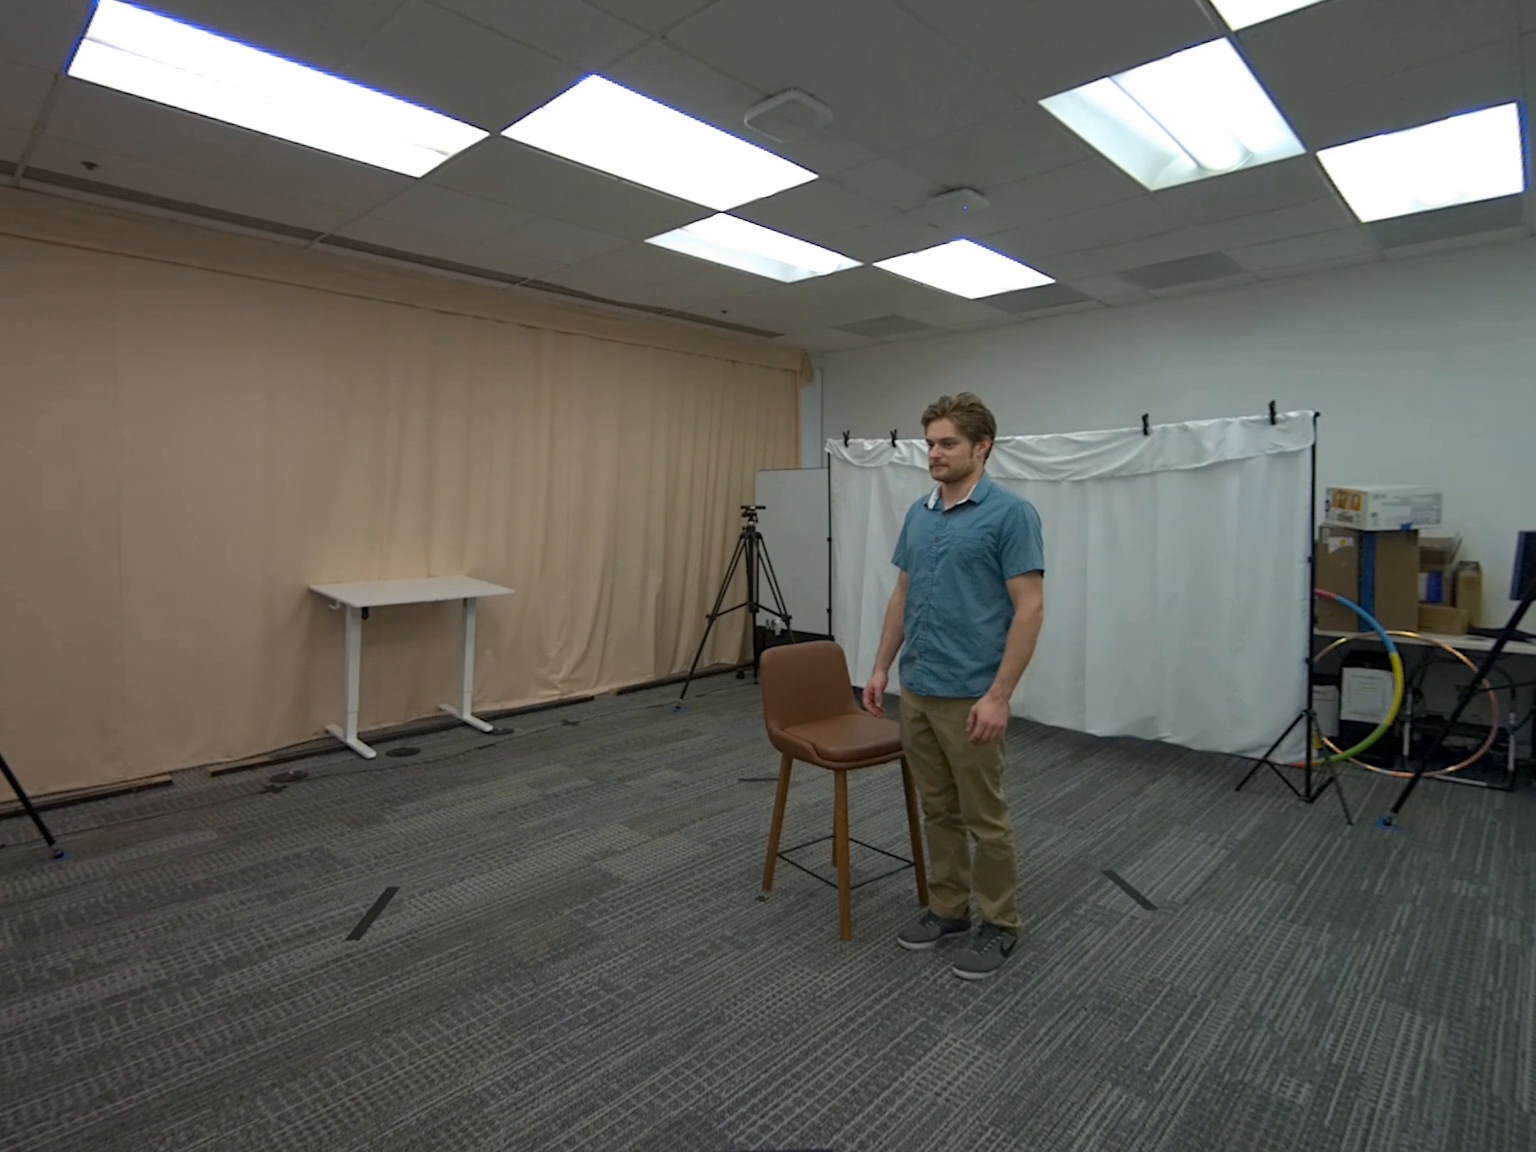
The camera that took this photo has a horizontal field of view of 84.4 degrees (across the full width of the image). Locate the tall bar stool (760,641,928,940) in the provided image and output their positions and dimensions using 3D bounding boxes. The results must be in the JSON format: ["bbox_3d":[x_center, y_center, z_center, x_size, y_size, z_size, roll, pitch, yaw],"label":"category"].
[{"bbox_3d":[0.257,0.709,2.969,0.443,0.889,0.482,-3,2,-37],"label":"tall bar stool"}]
